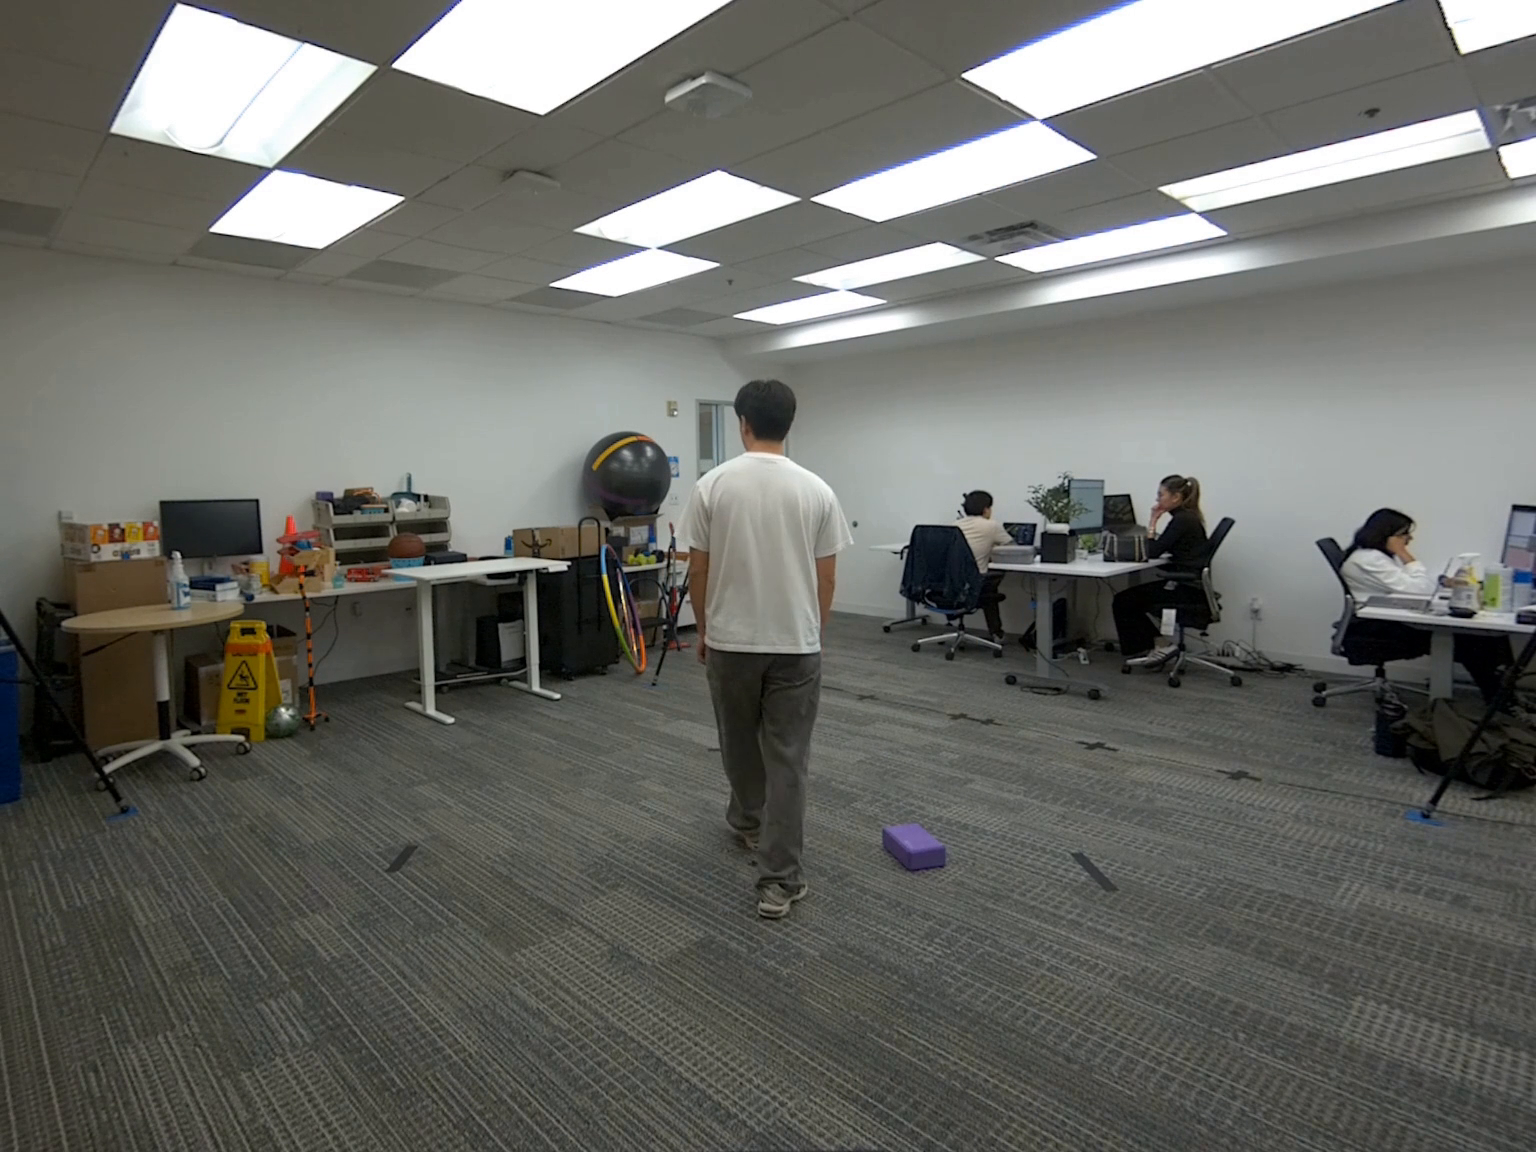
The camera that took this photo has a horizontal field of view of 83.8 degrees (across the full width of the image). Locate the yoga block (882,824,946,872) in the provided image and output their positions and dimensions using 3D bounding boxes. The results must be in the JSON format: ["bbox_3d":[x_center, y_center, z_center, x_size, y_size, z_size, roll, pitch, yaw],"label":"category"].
[{"bbox_3d":[0.536,0.988,3.137,0.147,0.076,0.233,-3,6,-16],"label":"yoga block"}]
